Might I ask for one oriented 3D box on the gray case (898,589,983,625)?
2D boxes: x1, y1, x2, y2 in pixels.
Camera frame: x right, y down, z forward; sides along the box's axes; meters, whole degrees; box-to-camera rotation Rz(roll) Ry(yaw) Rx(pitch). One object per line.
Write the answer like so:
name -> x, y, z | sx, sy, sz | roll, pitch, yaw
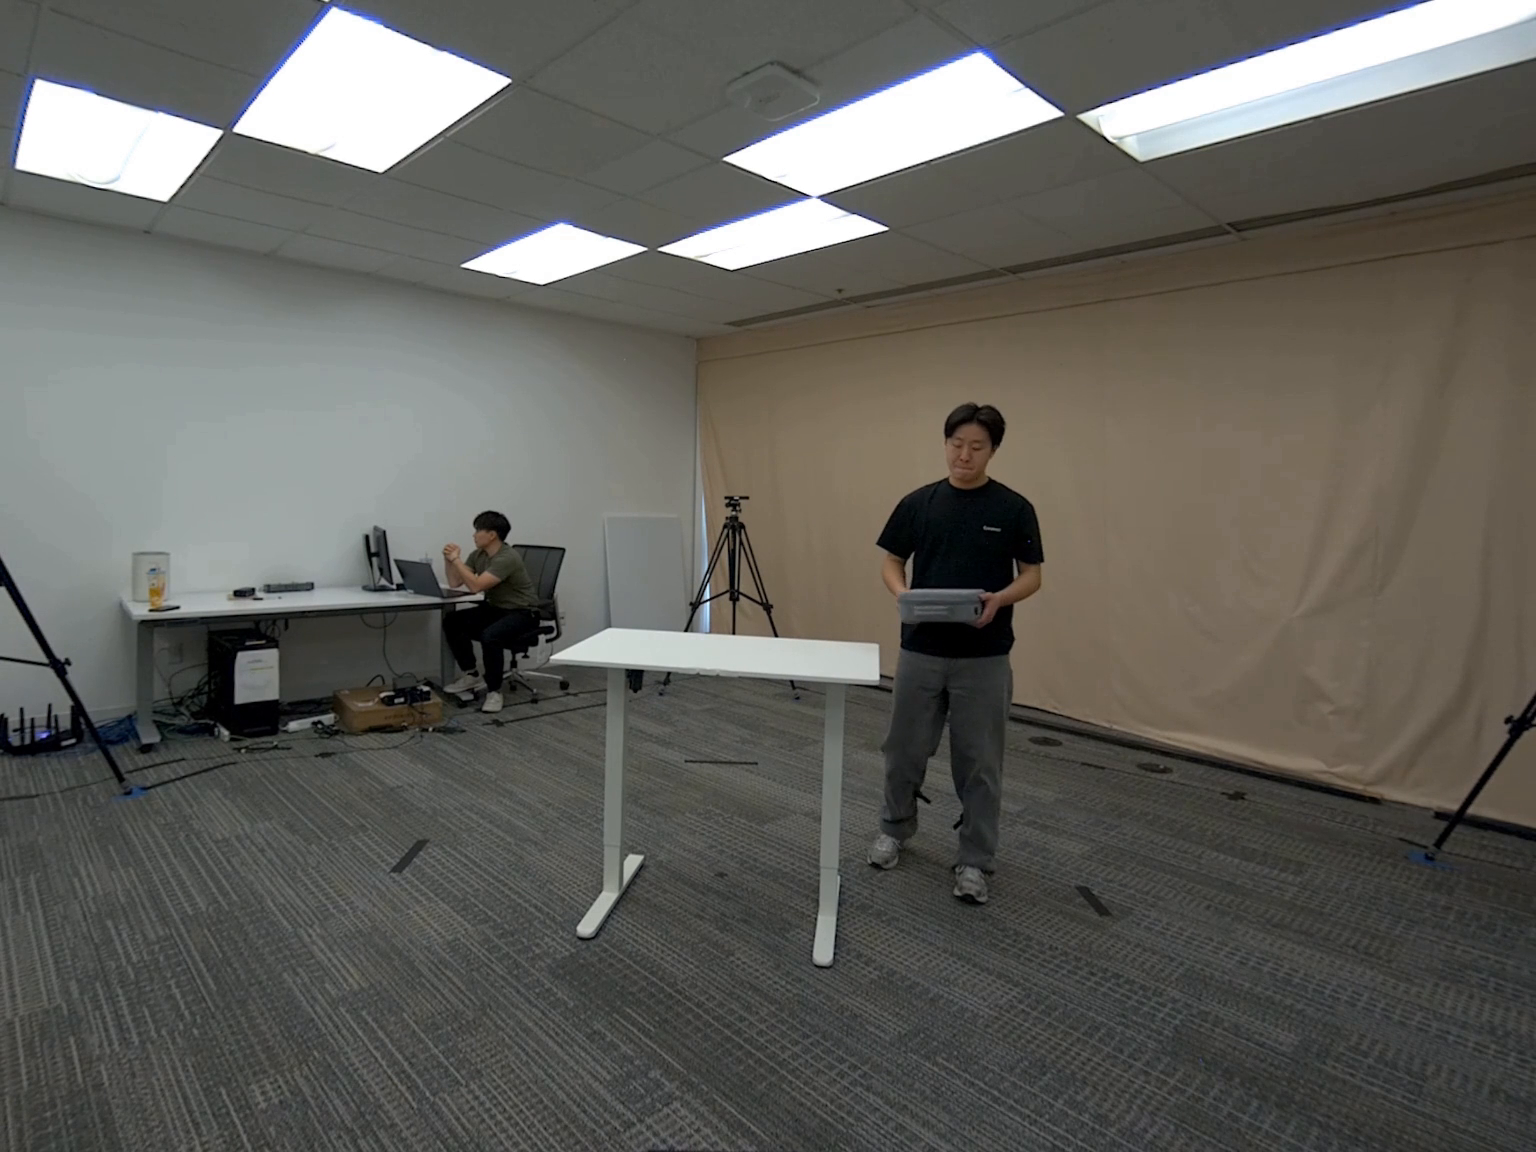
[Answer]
gray case -> 0.573, 0.101, 2.850 | 0.268, 0.103, 0.282 | -2, 1, 26
